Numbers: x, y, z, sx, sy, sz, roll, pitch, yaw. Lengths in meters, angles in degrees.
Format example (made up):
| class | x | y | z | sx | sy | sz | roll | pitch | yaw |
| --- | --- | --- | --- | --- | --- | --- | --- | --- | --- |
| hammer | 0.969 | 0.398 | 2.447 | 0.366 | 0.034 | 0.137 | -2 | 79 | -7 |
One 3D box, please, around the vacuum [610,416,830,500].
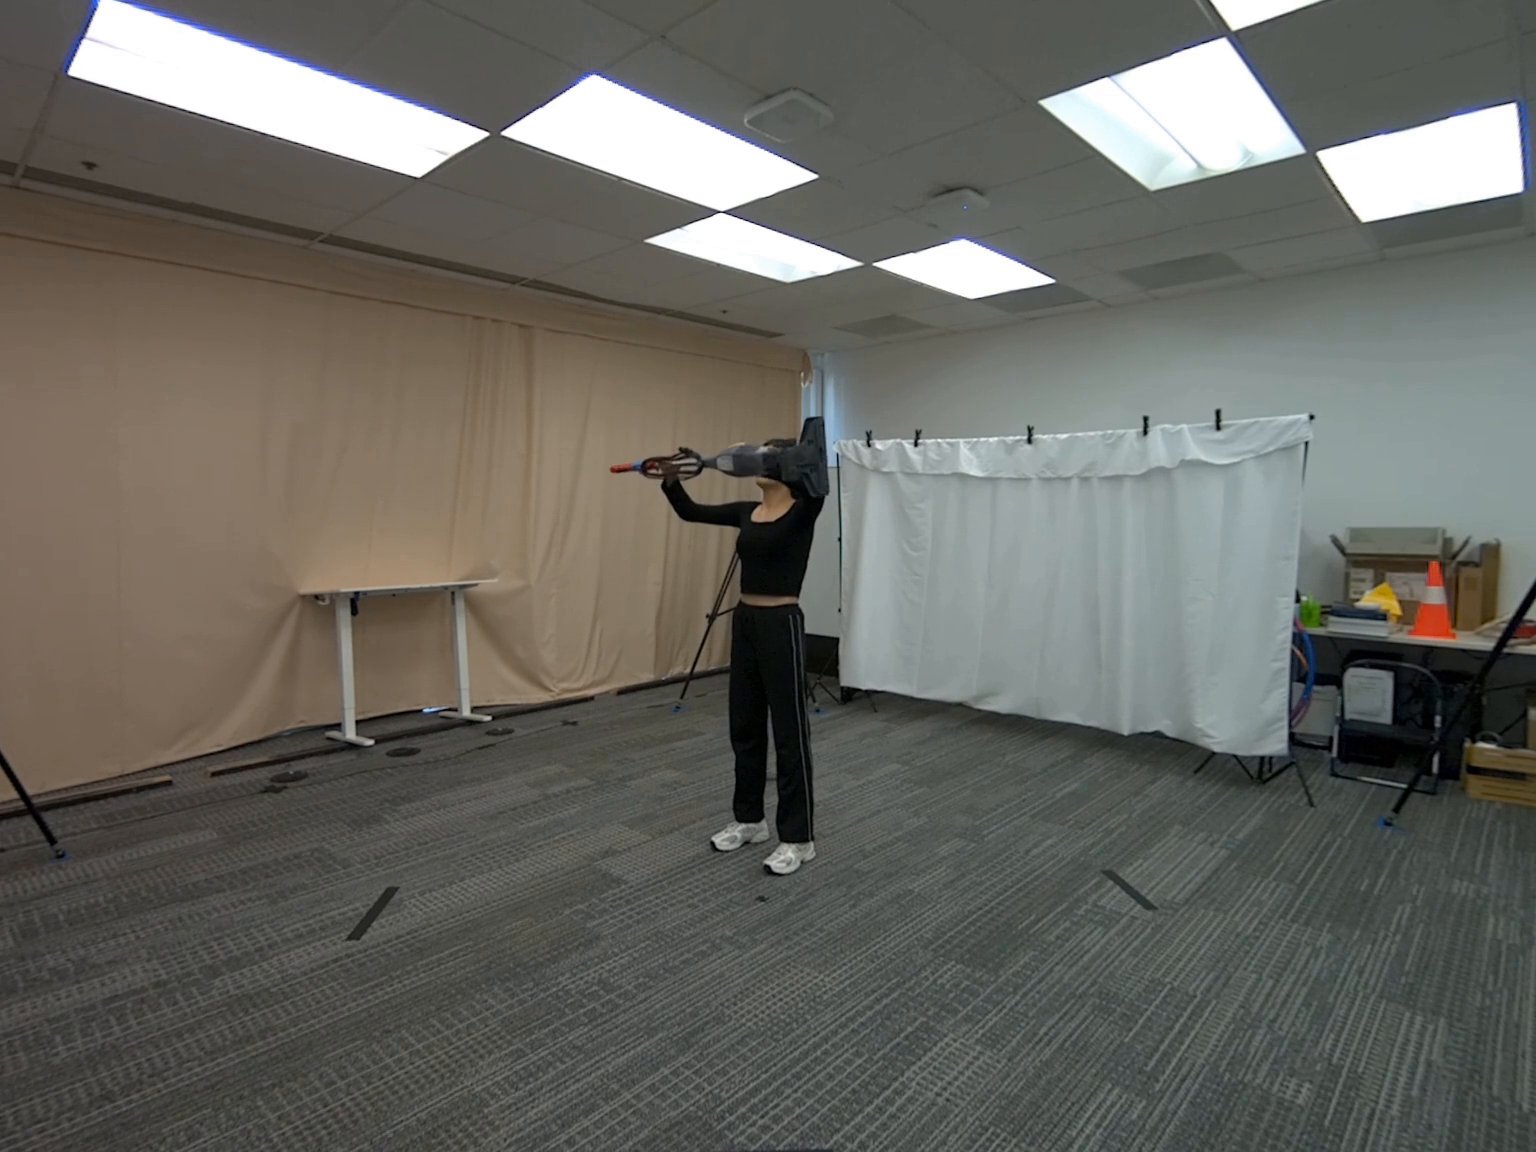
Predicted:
| class | x | y | z | sx | sy | sz | roll | pitch | yaw |
| --- | --- | --- | --- | --- | --- | --- | --- | --- | --- |
| vacuum | -0.244 | -0.401 | 3.066 | 0.140 | 0.251 | 1.084 | -17 | 13 | -40 |
